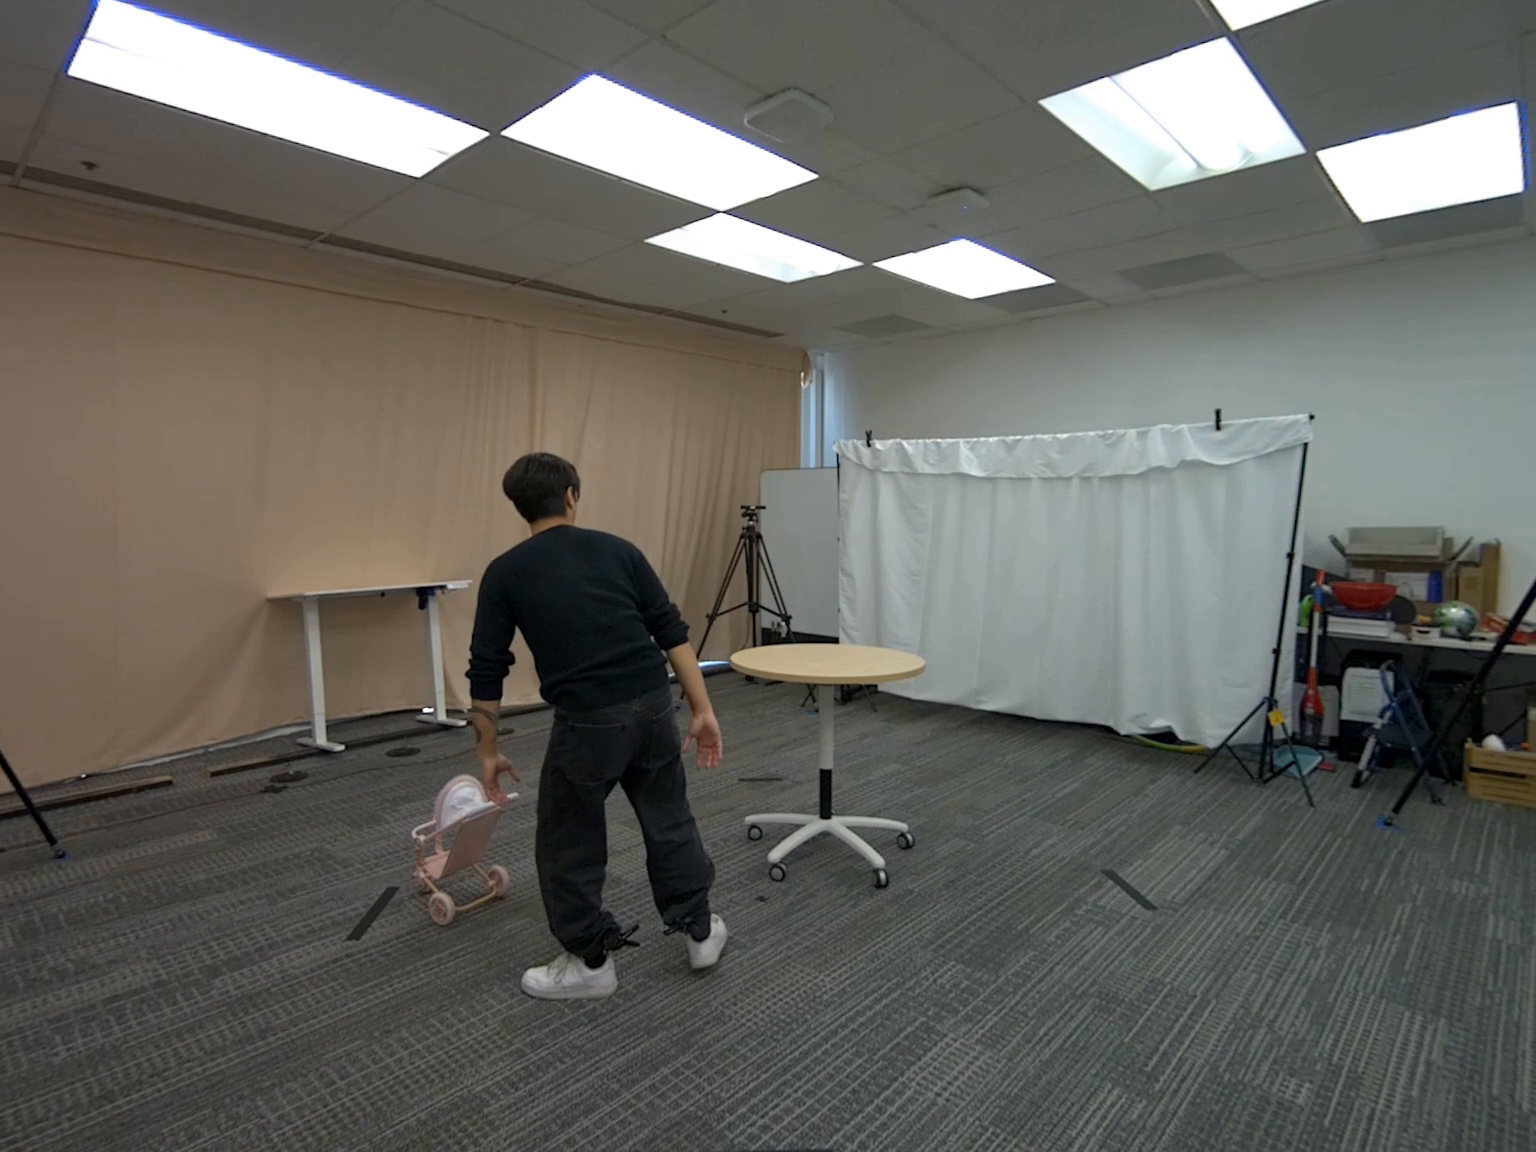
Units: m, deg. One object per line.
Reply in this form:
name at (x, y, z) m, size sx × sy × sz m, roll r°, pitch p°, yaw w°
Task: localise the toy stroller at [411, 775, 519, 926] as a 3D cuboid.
toy stroller at (-1.088, 0.934, 2.944) m, size 0.353 × 0.532 × 0.273 m, roll 23°, pitch 16°, yaw 34°
